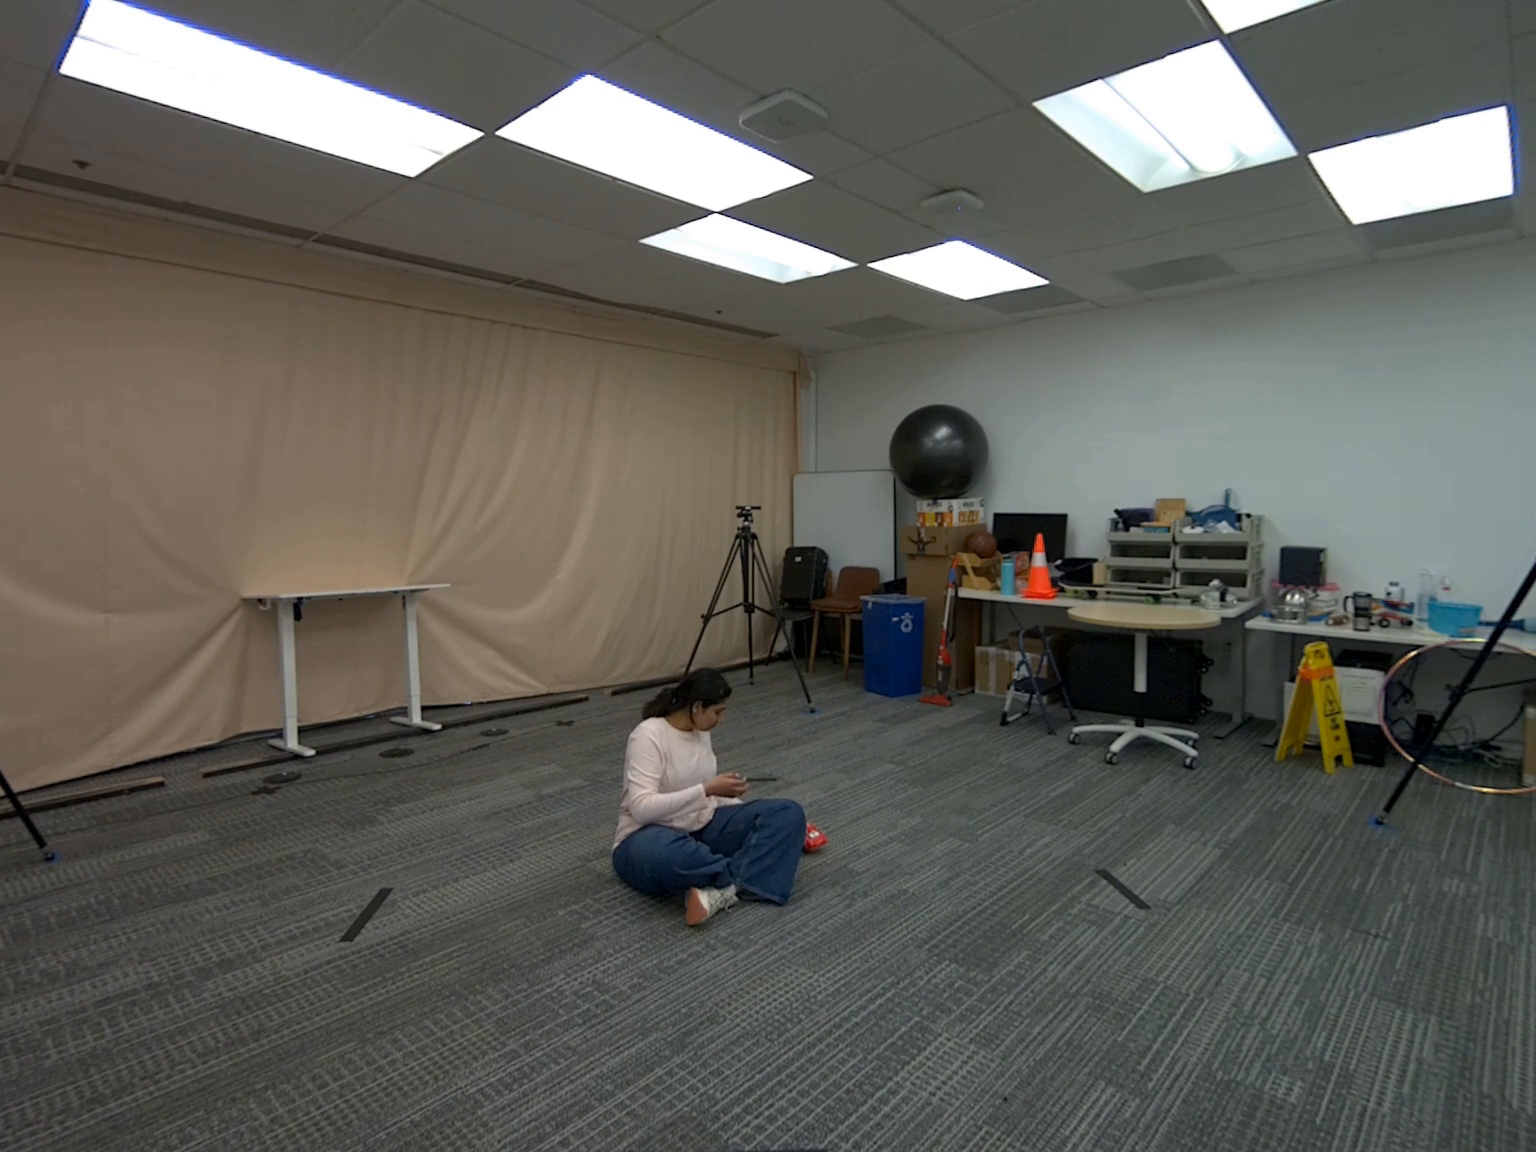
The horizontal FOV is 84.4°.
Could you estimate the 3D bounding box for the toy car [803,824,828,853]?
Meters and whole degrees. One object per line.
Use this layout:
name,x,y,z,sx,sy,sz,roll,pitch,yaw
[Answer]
toy car,0.141,1.057,3.437,0.126,0.083,0.262,-6,4,-39
